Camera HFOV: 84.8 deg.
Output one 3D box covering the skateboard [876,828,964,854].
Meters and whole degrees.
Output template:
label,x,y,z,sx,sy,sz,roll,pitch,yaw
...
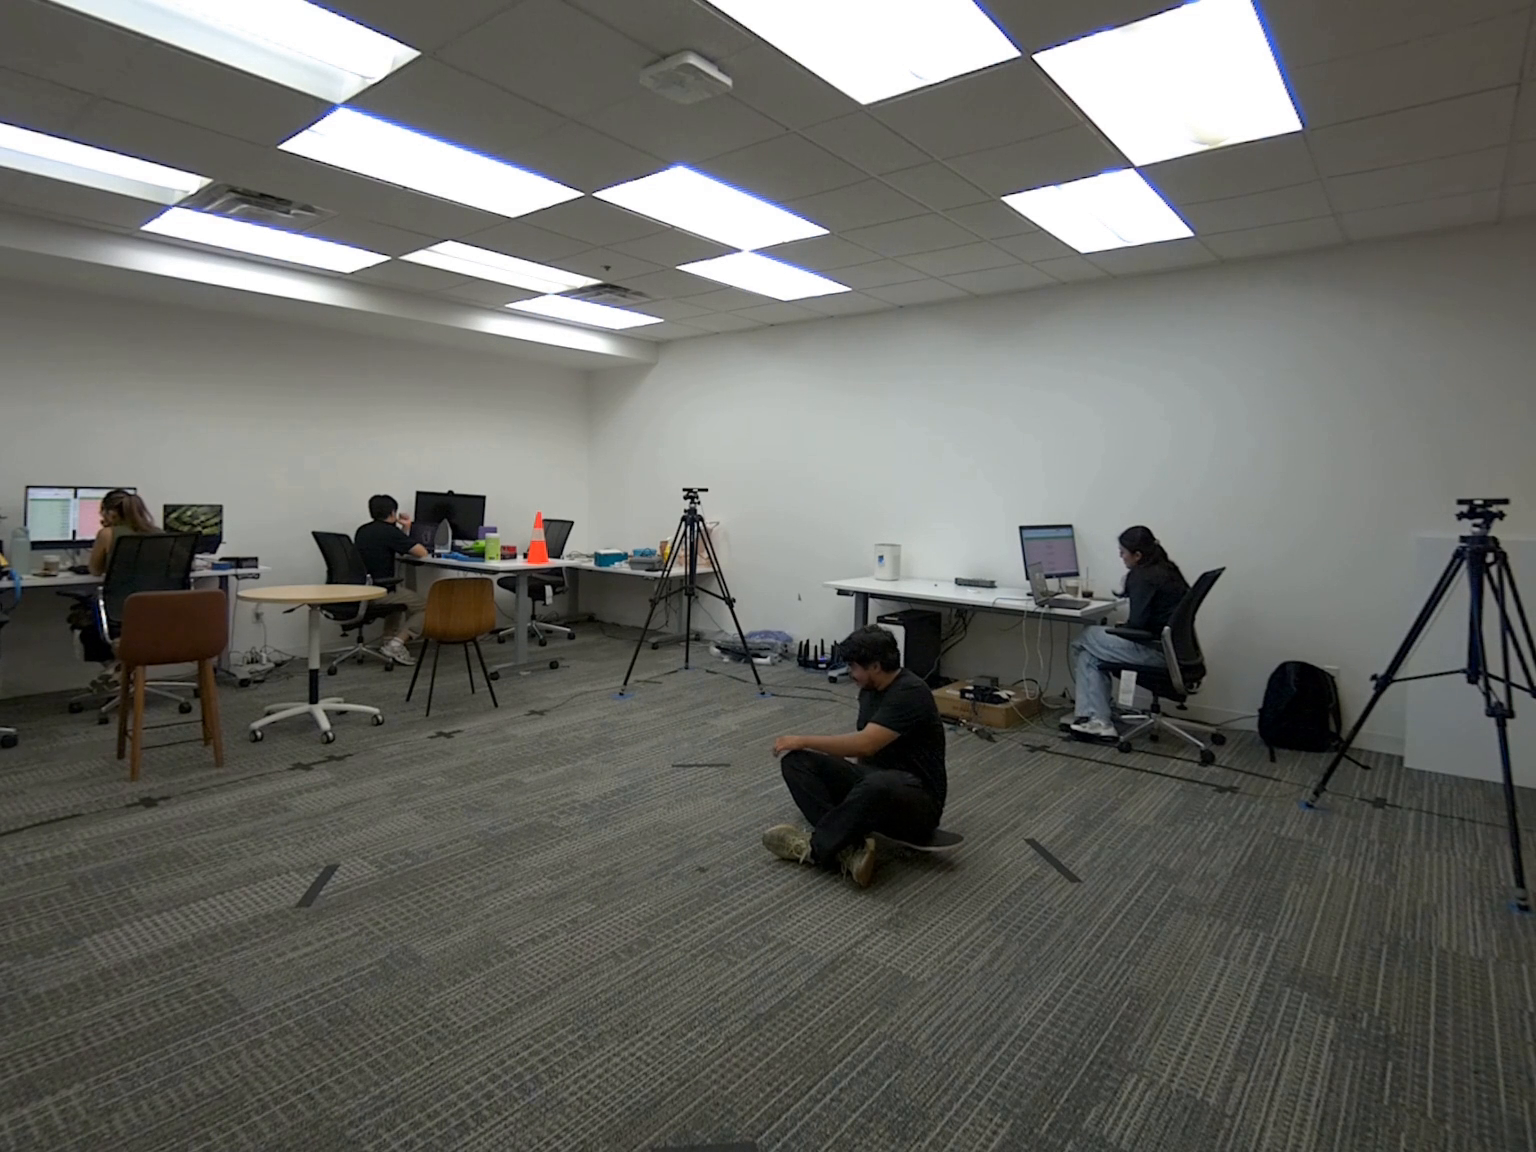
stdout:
label,x,y,z,sx,sy,sz,roll,pitch,yaw
skateboard,0.402,0.991,3.406,0.188,0.110,0.813,-5,8,-42
